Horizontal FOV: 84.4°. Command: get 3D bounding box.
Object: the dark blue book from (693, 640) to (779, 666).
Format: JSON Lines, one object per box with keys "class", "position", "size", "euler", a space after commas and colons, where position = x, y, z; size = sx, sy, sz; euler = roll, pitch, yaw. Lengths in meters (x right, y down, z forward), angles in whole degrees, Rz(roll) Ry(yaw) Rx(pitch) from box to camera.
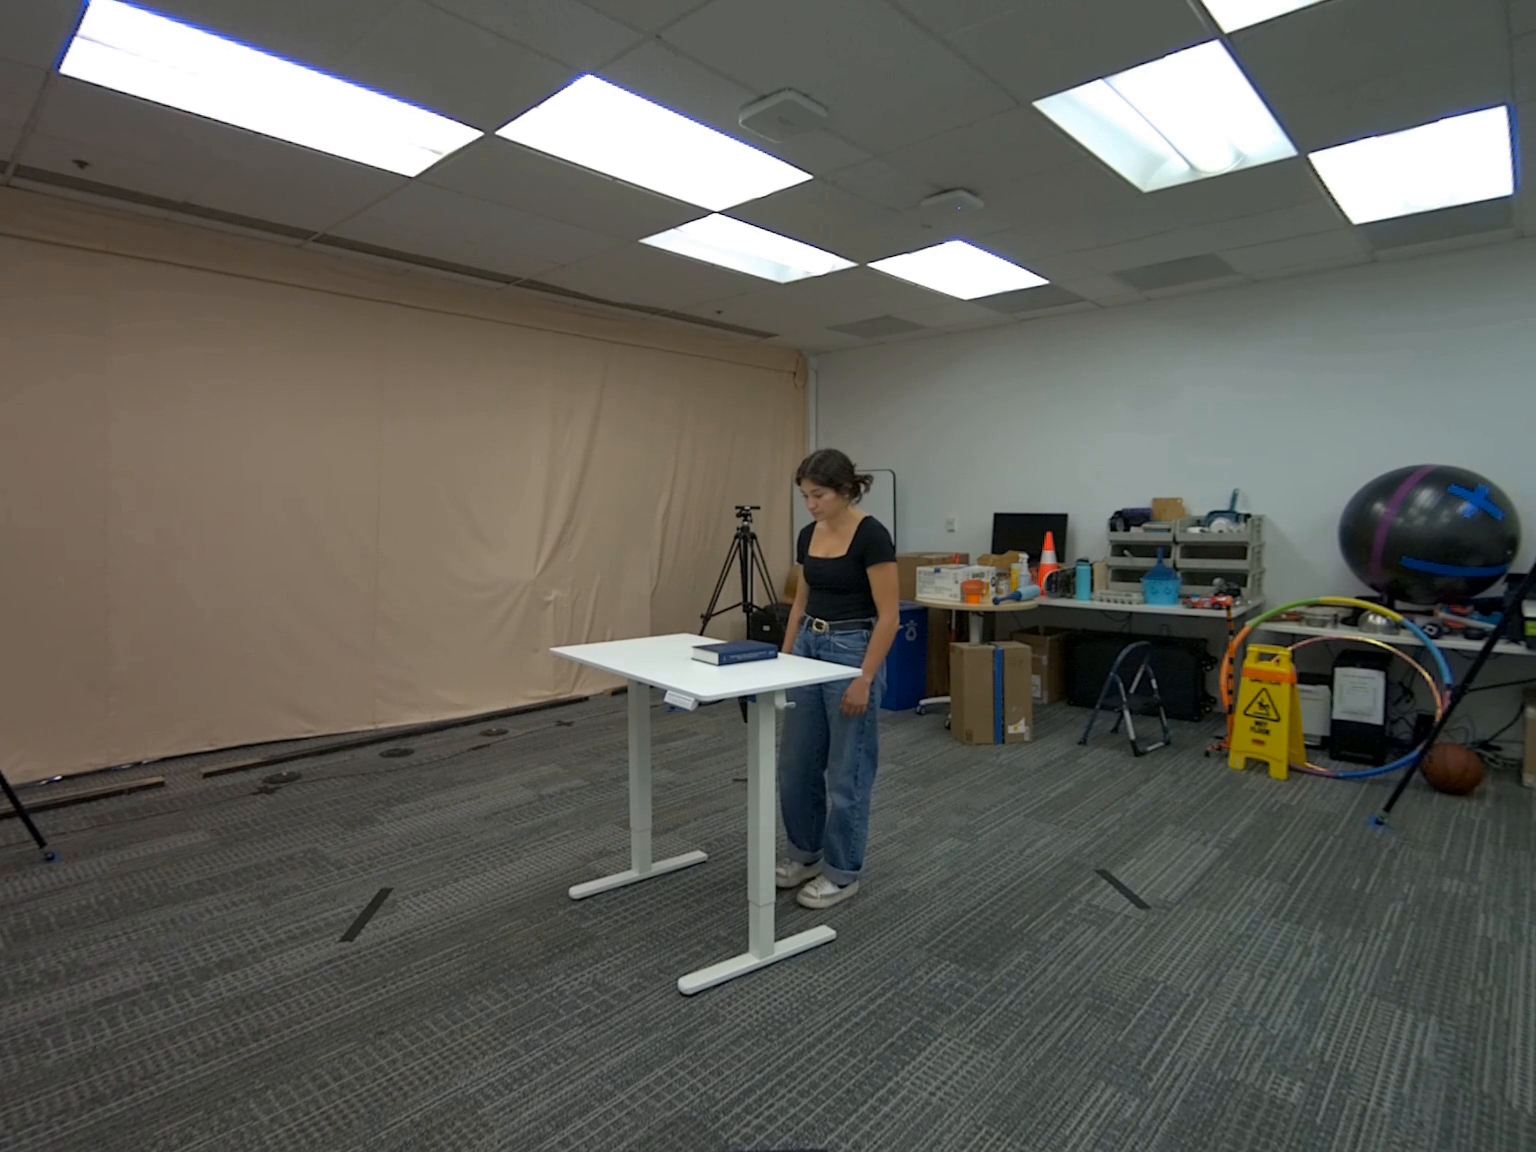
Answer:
{"class": "dark blue book", "position": [-0.108, 0.261, 2.809], "size": [0.238, 0.045, 0.169], "euler": [-3, 6, -36]}
